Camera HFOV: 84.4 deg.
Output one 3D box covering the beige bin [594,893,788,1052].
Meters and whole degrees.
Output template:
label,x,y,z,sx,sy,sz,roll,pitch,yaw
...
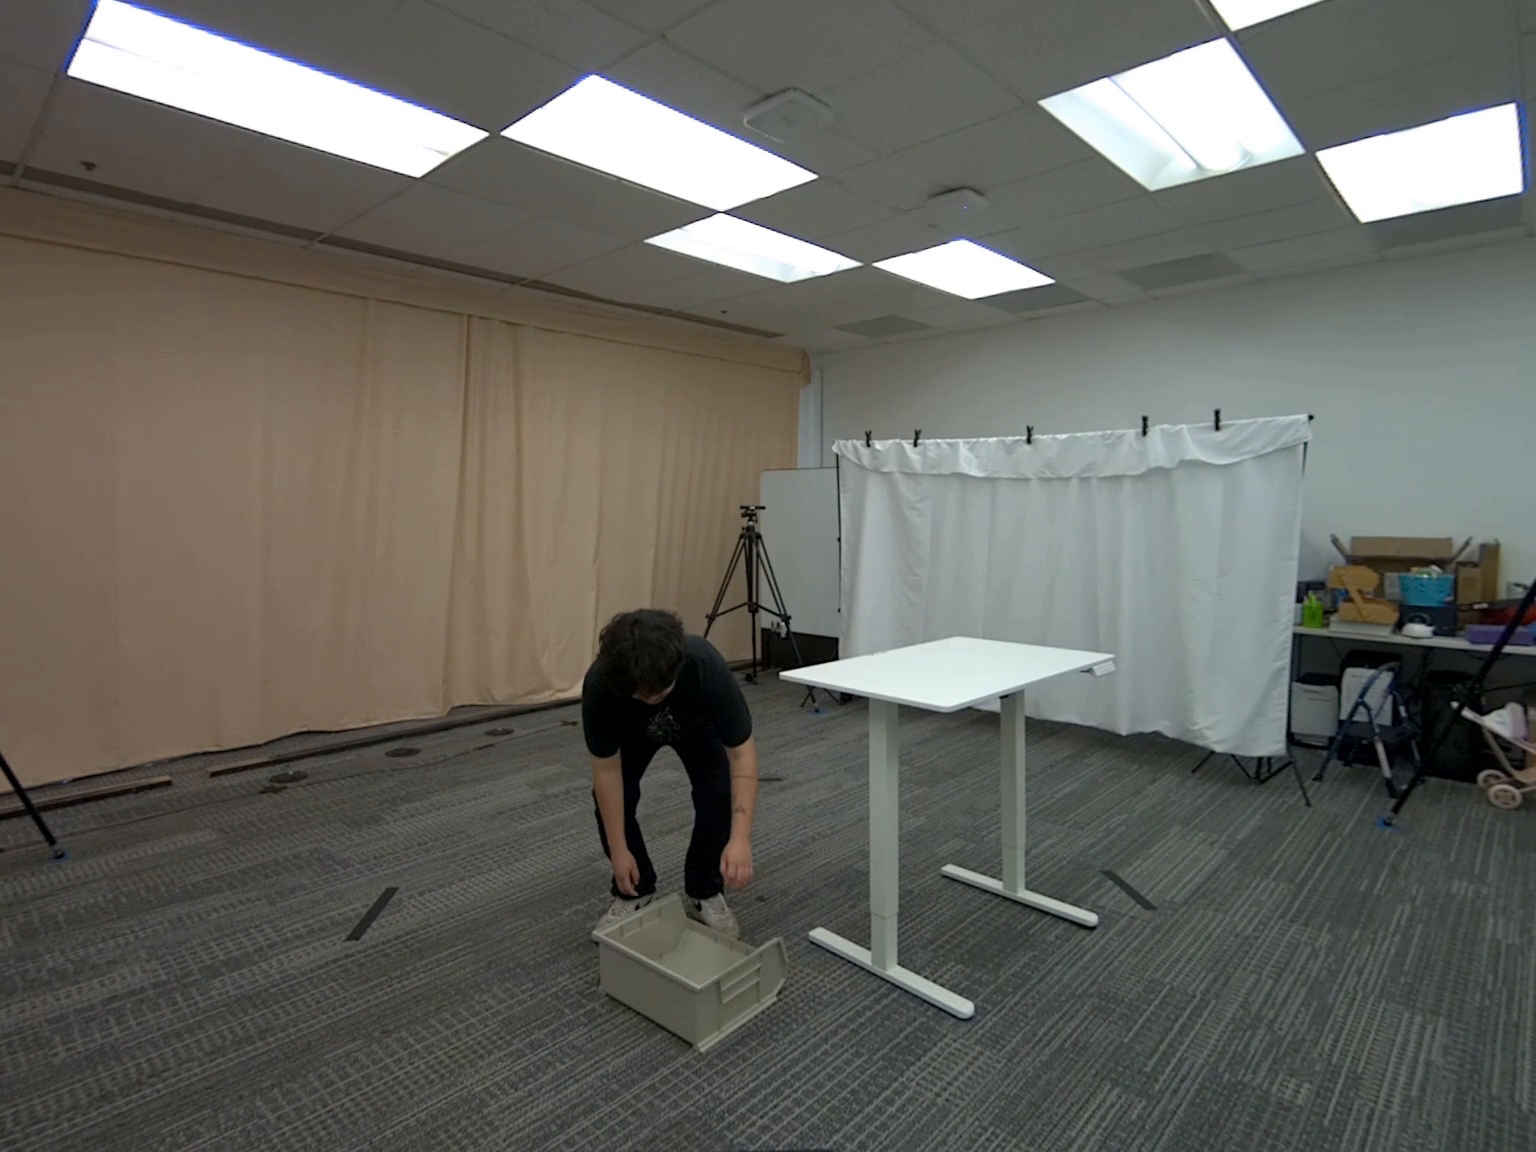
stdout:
label,x,y,z,sx,sy,sz,roll,pitch,yaw
beige bin,-0.217,1.100,2.410,0.436,0.188,0.366,4,7,40
